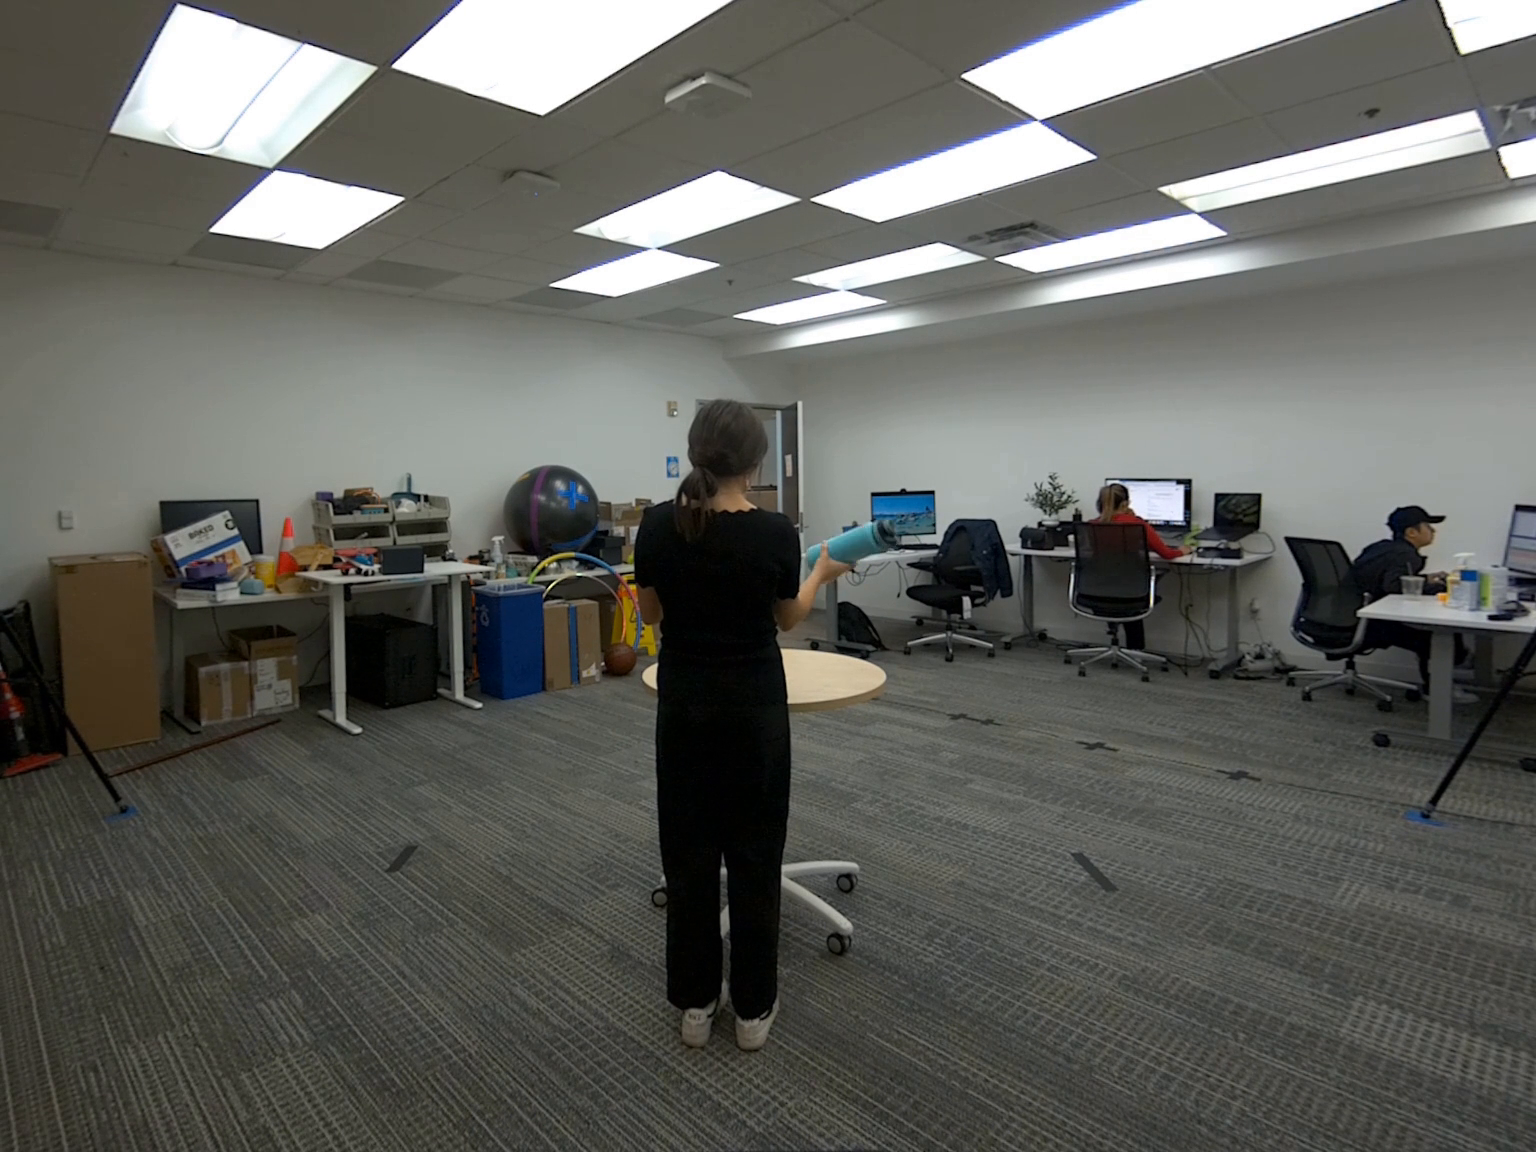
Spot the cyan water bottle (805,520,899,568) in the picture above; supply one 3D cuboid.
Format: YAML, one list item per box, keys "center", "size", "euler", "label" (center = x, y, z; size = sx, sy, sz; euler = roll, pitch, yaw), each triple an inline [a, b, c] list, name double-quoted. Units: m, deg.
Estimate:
- center: [0.242, -0.083, 2.451]
  size: [0.287, 0.093, 0.090]
  euler: [-23, -8, 33]
  label: "cyan water bottle"
